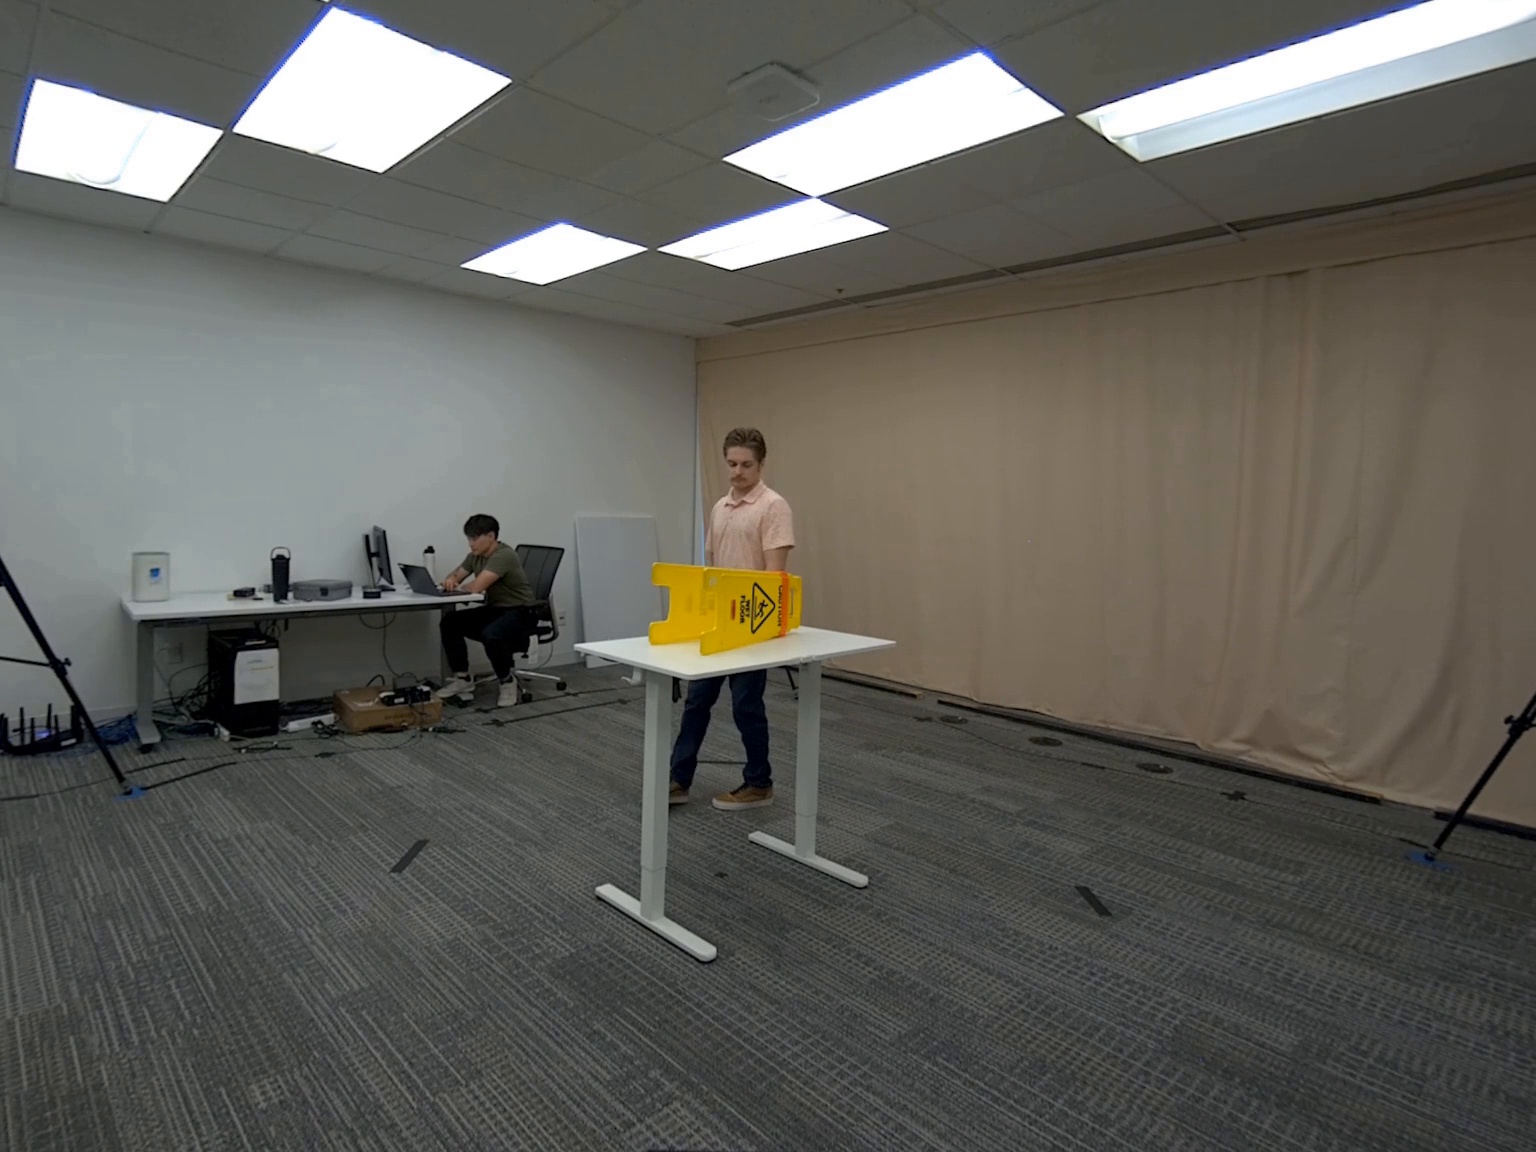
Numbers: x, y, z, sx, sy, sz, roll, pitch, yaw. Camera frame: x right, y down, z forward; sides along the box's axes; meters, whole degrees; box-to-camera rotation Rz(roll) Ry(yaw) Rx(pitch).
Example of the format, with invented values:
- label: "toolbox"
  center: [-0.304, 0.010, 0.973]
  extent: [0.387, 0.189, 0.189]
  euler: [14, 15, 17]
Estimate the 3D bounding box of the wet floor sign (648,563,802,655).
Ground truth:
- label: "wet floor sign"
  center: [-0.099, 0.107, 2.993]
  extent: [0.297, 0.282, 0.631]
  euler: [5, 3, 43]
